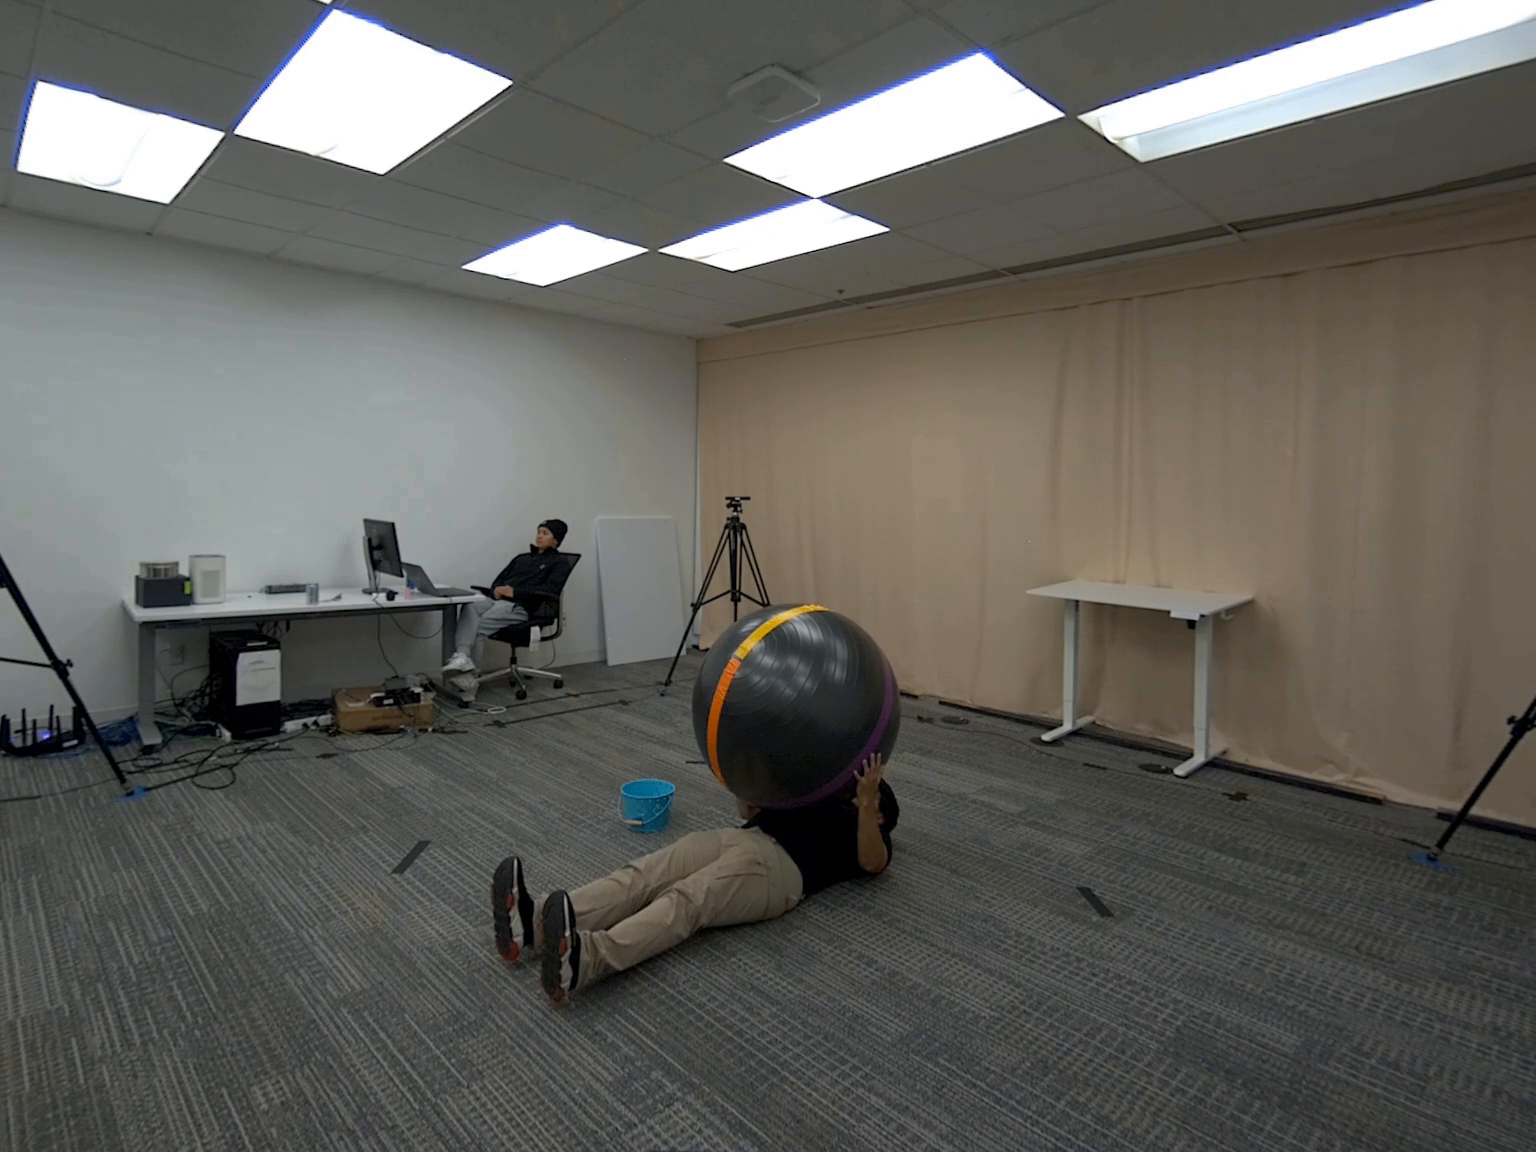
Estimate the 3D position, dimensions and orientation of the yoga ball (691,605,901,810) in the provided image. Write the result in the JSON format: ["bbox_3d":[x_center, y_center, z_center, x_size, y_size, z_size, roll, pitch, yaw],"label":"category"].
[{"bbox_3d":[0.094,0.485,3.073,0.757,0.755,0.761,1,5,-1],"label":"yoga ball"}]
